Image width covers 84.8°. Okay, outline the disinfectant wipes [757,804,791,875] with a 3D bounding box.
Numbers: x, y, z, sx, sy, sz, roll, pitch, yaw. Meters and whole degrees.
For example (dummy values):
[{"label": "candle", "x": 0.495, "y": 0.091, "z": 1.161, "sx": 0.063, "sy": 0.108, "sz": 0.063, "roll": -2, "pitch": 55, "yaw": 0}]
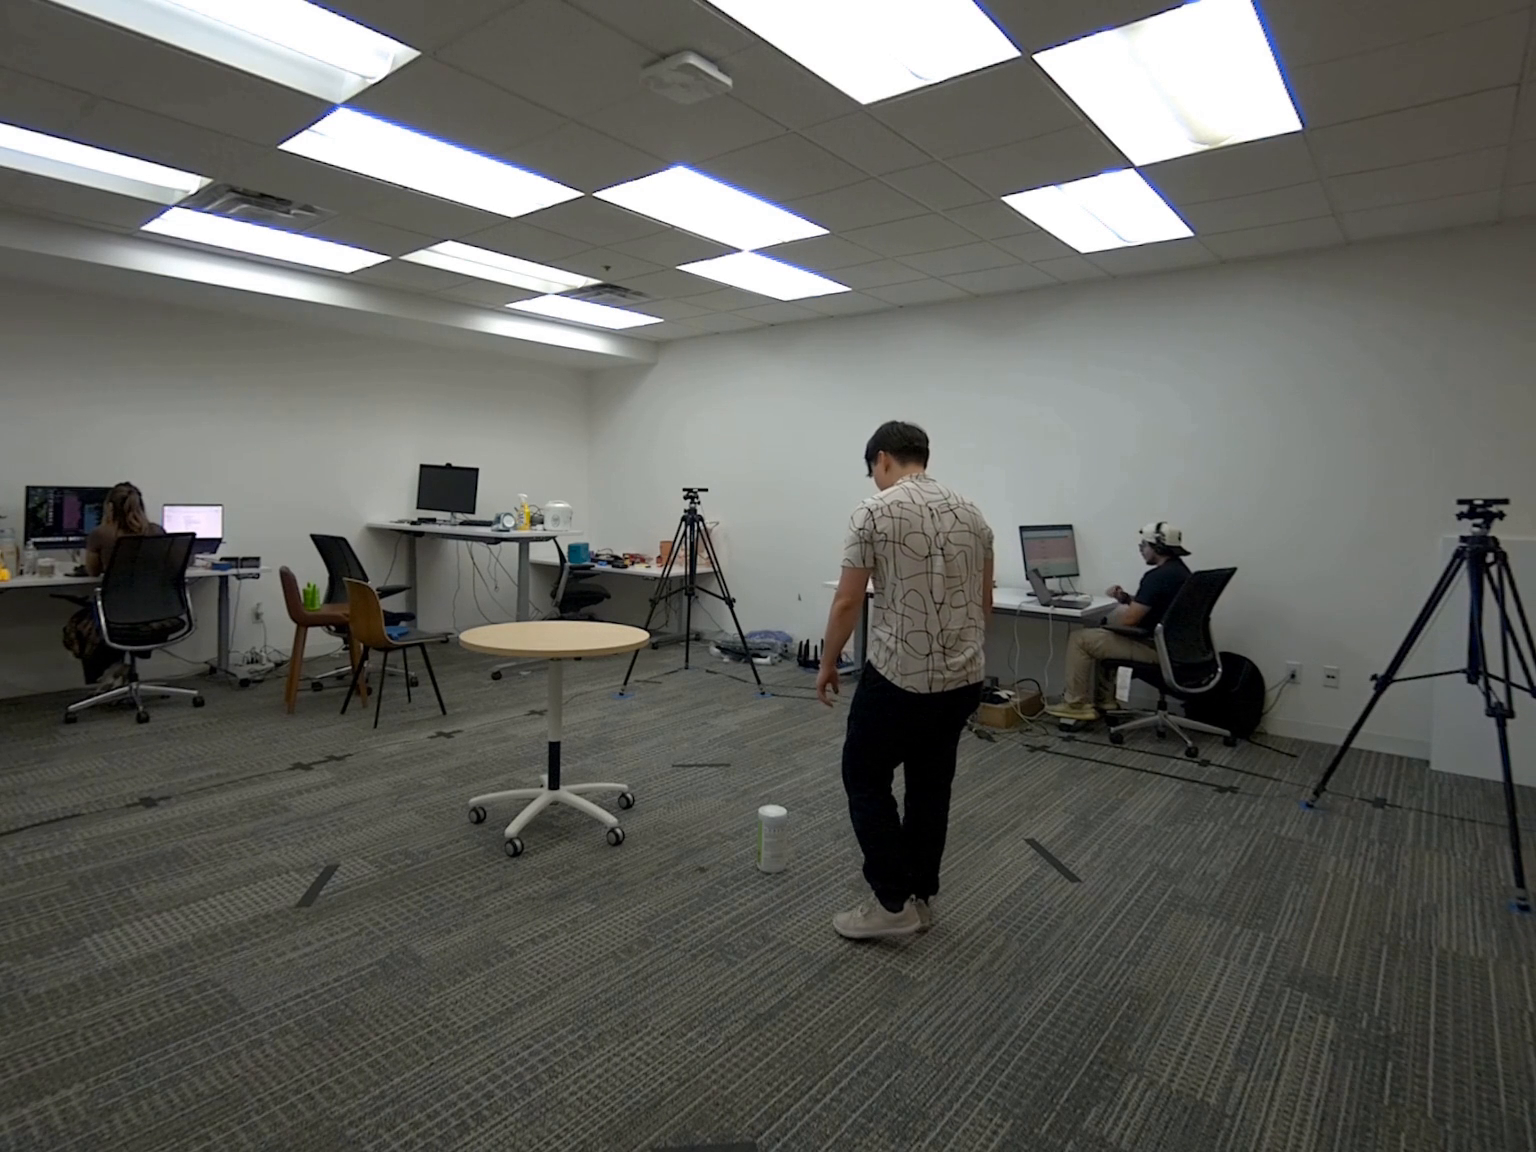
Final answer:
[{"label": "disinfectant wipes", "x": 0.014, "y": 0.966, "z": 3.133, "sx": 0.118, "sy": 0.217, "sz": 0.118, "roll": 0, "pitch": 4, "yaw": -2}]
